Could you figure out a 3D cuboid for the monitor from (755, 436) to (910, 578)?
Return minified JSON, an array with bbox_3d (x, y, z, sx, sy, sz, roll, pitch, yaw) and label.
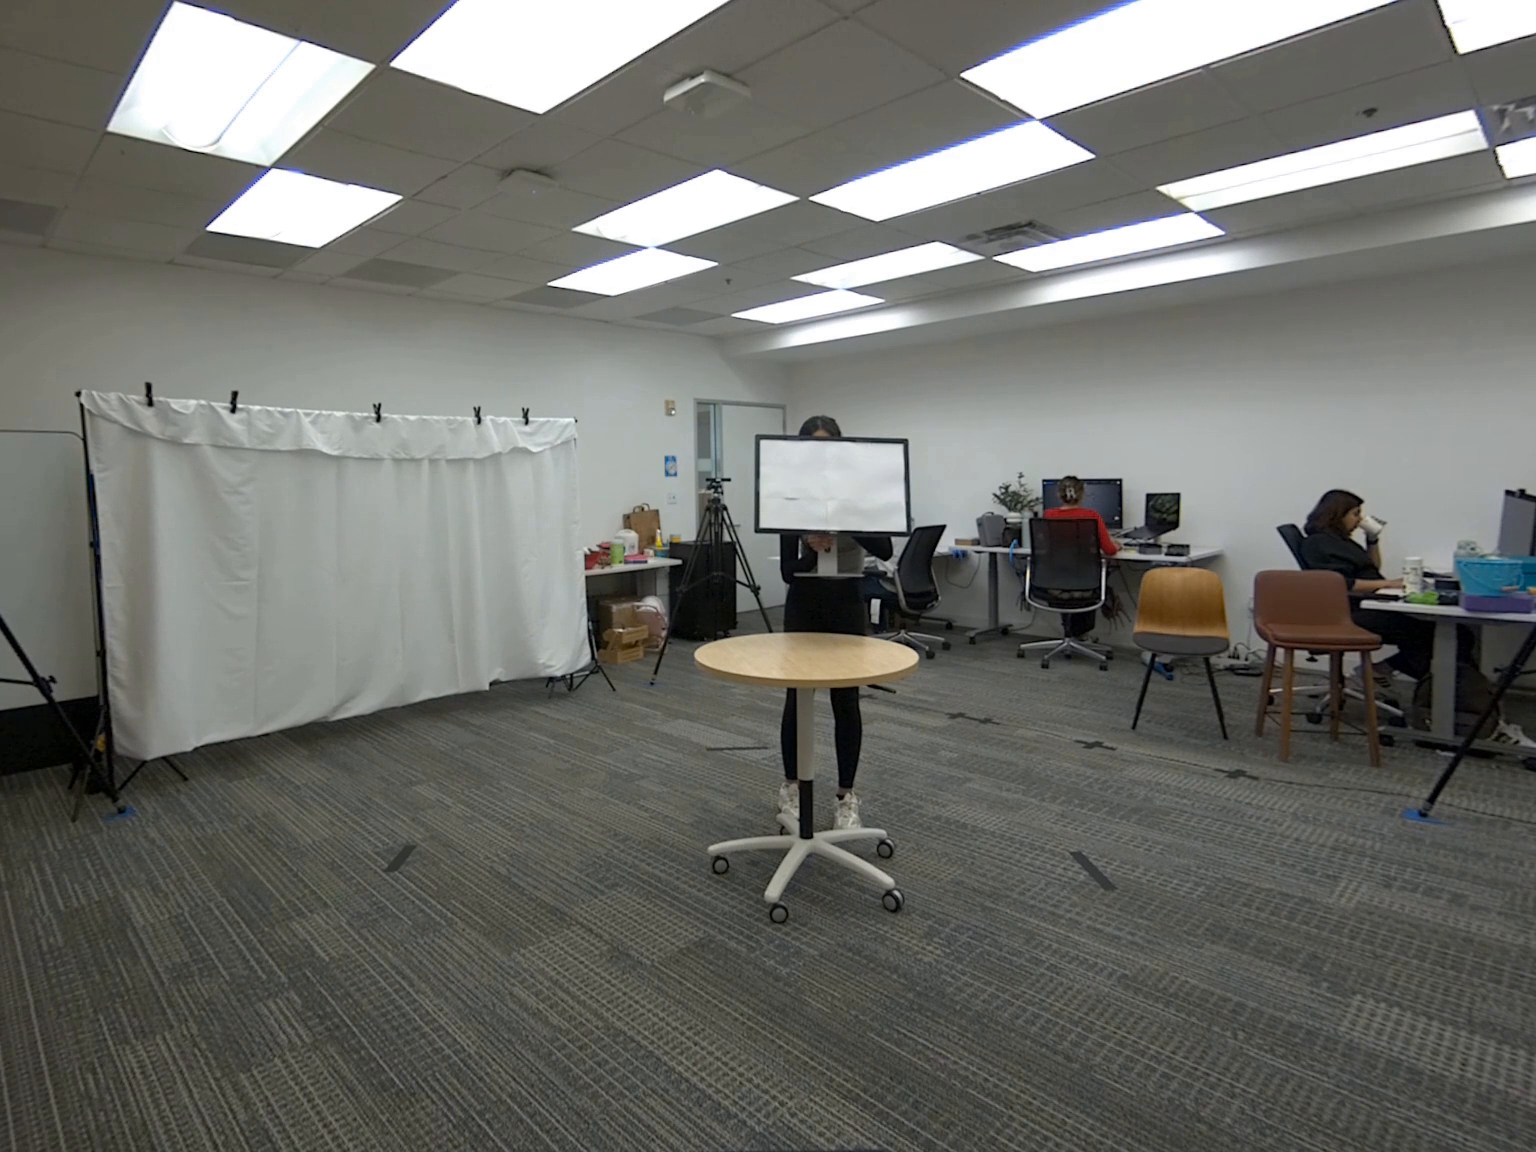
[{"bbox_3d":[0.217,-0.235,3.096,0.537,0.523,0.188,2,0,-4],"label":"monitor"}]
